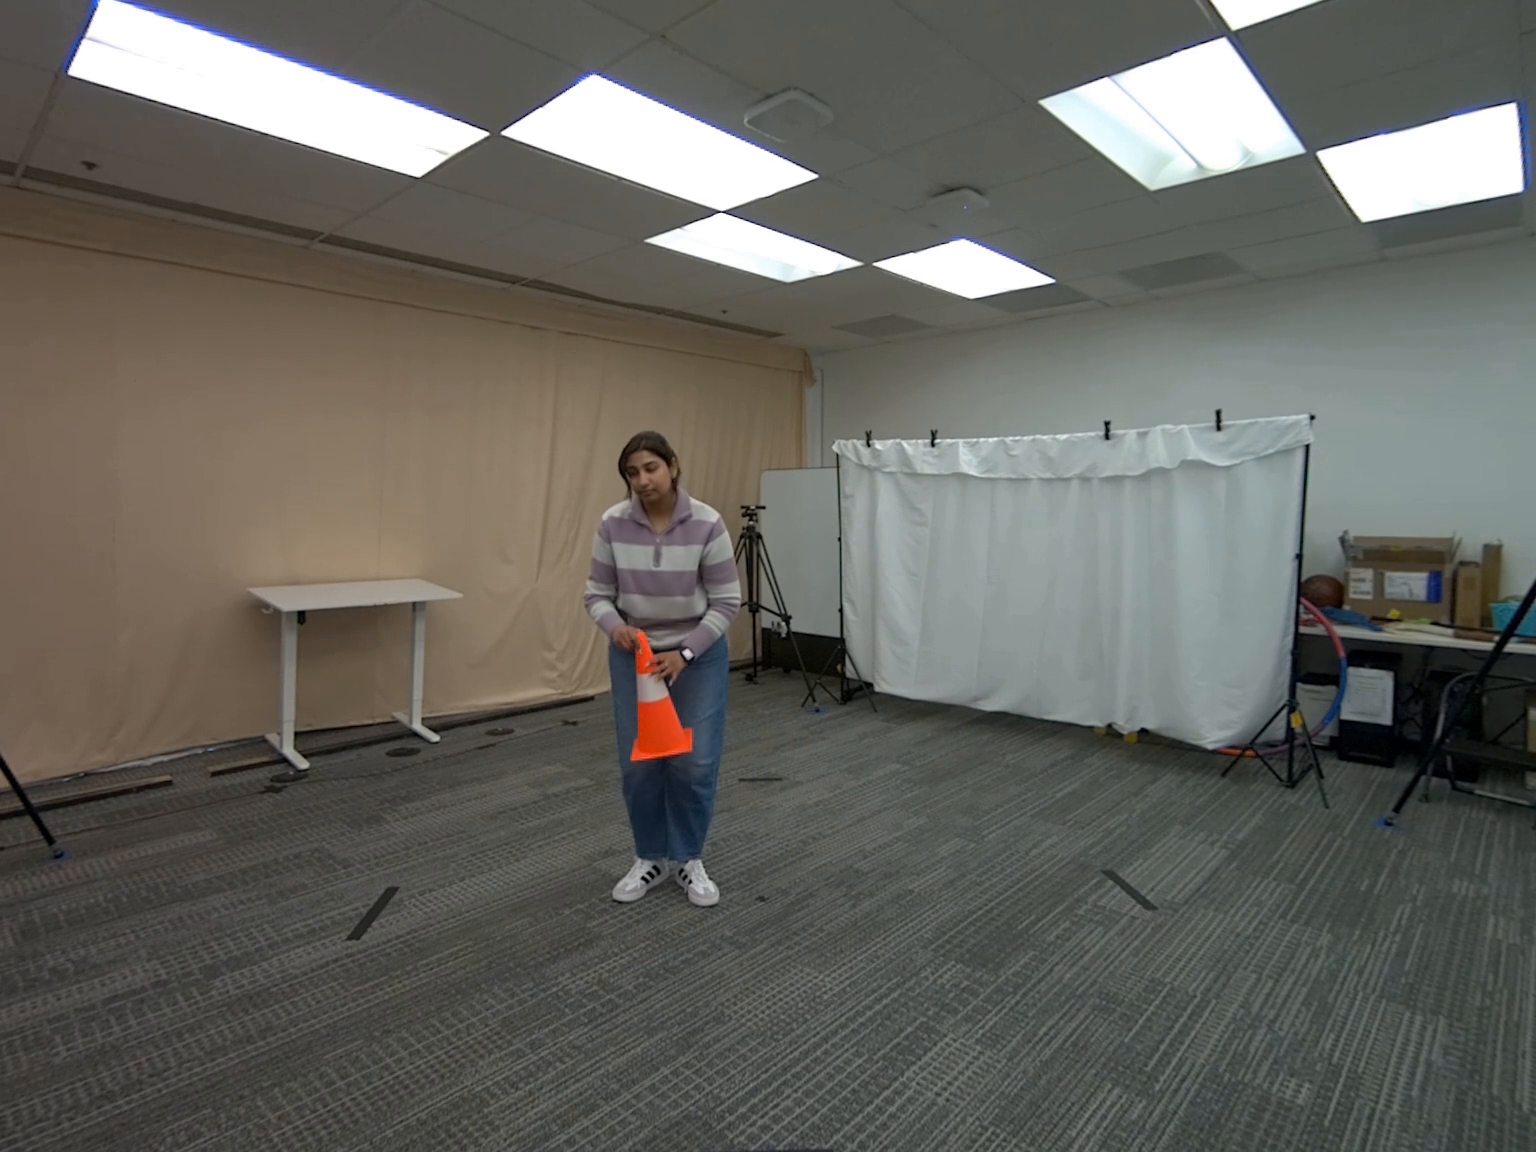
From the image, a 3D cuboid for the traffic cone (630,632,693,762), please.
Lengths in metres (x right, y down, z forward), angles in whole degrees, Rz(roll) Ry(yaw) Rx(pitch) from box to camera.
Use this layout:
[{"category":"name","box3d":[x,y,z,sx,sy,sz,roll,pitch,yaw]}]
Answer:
[{"category":"traffic cone","box3d":[-0.371,0.379,2.721,0.204,0.381,0.206,-8,9,-6]}]
